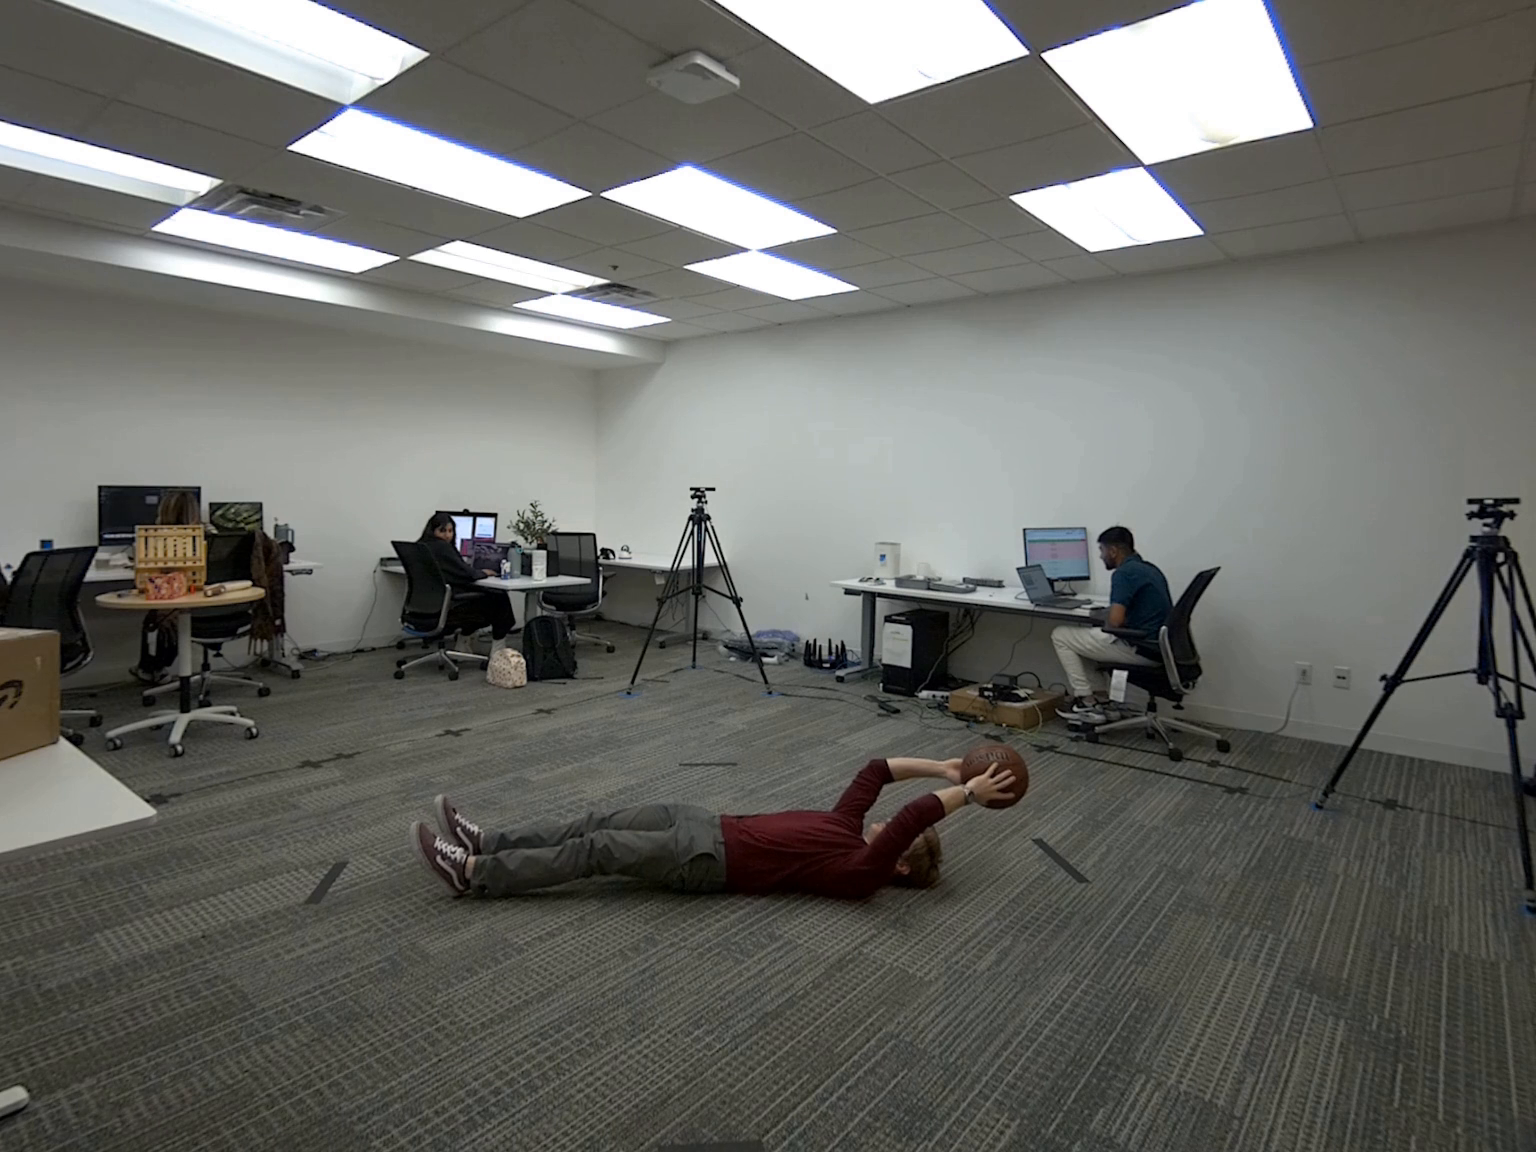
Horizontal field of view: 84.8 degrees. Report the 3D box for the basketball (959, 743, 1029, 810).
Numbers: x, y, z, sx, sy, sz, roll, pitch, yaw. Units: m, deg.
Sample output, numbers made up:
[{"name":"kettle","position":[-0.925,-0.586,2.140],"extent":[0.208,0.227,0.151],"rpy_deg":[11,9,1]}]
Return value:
[{"name":"basketball","position":[0.816,0.720,3.118],"extent":[0.235,0.235,0.237],"rpy_deg":[1,4,-2]}]
